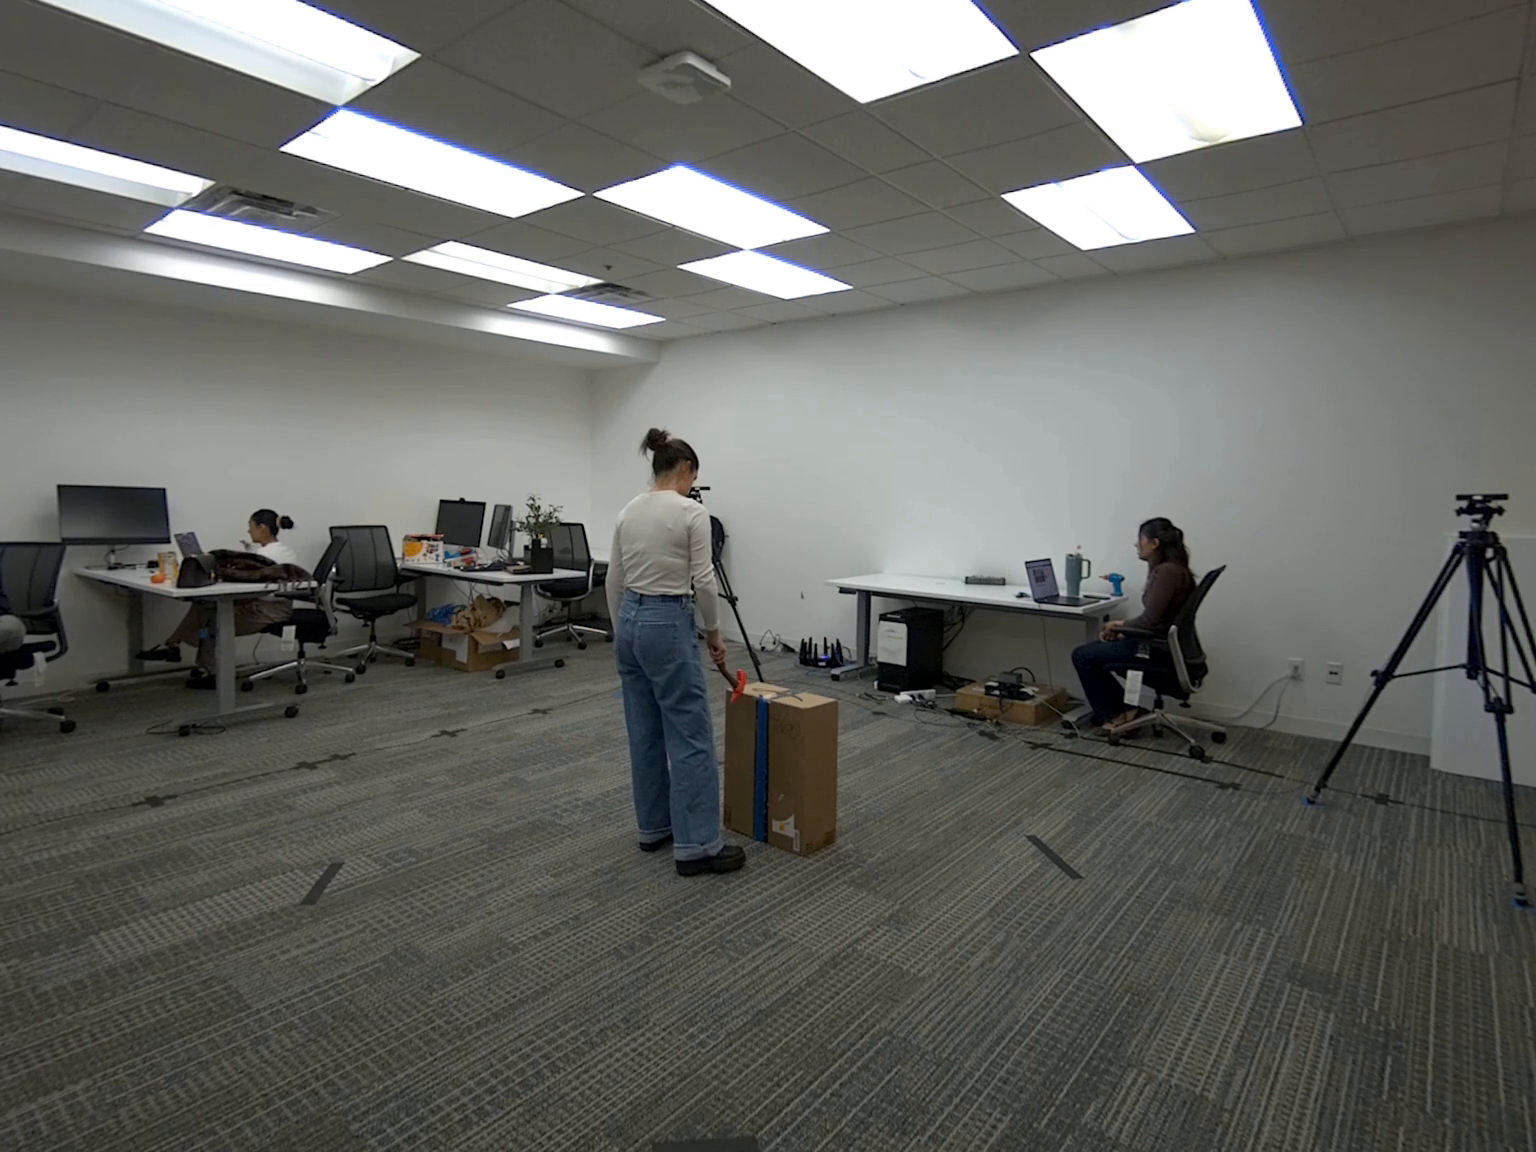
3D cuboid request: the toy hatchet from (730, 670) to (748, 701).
[{"bbox_3d":[-0.137,0.346,3.377,0.031,0.260,0.131,11,47,40],"label":"toy hatchet"}]
